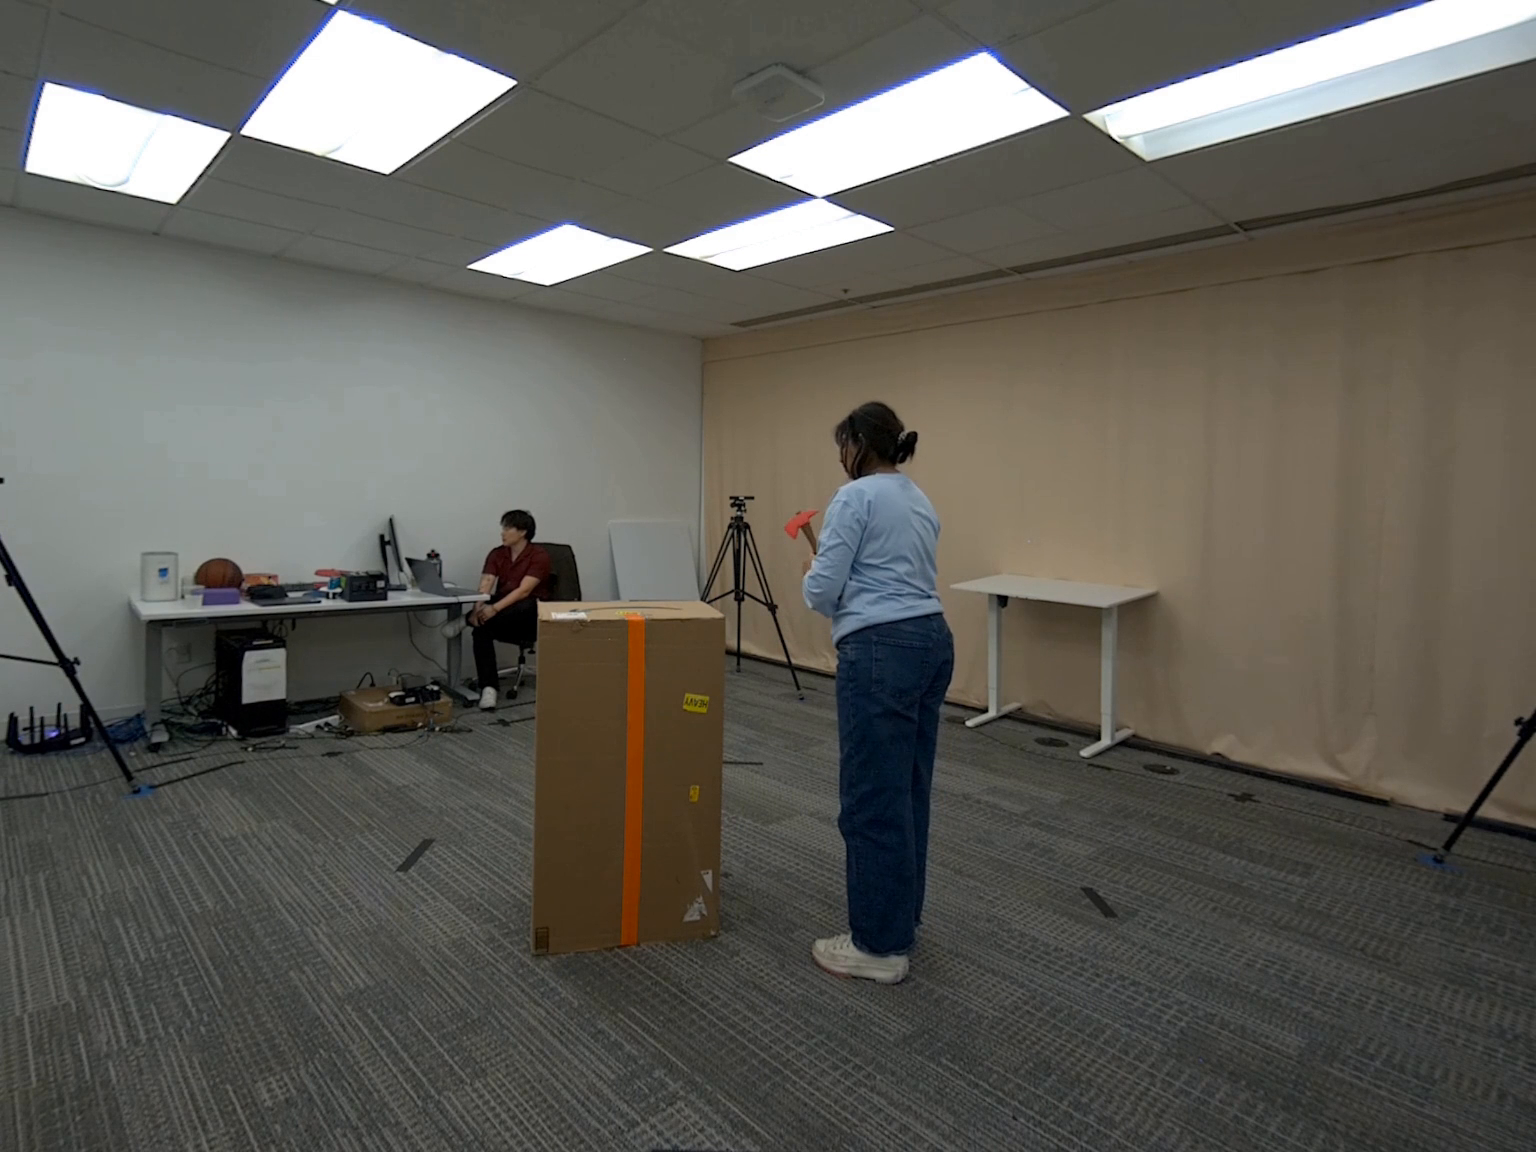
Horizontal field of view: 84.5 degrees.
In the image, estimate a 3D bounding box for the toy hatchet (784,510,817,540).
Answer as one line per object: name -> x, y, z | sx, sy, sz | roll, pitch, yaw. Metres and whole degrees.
toy hatchet -> 0.127, -0.087, 2.889 | 0.132, 0.273, 0.029 | -12, -15, 15
